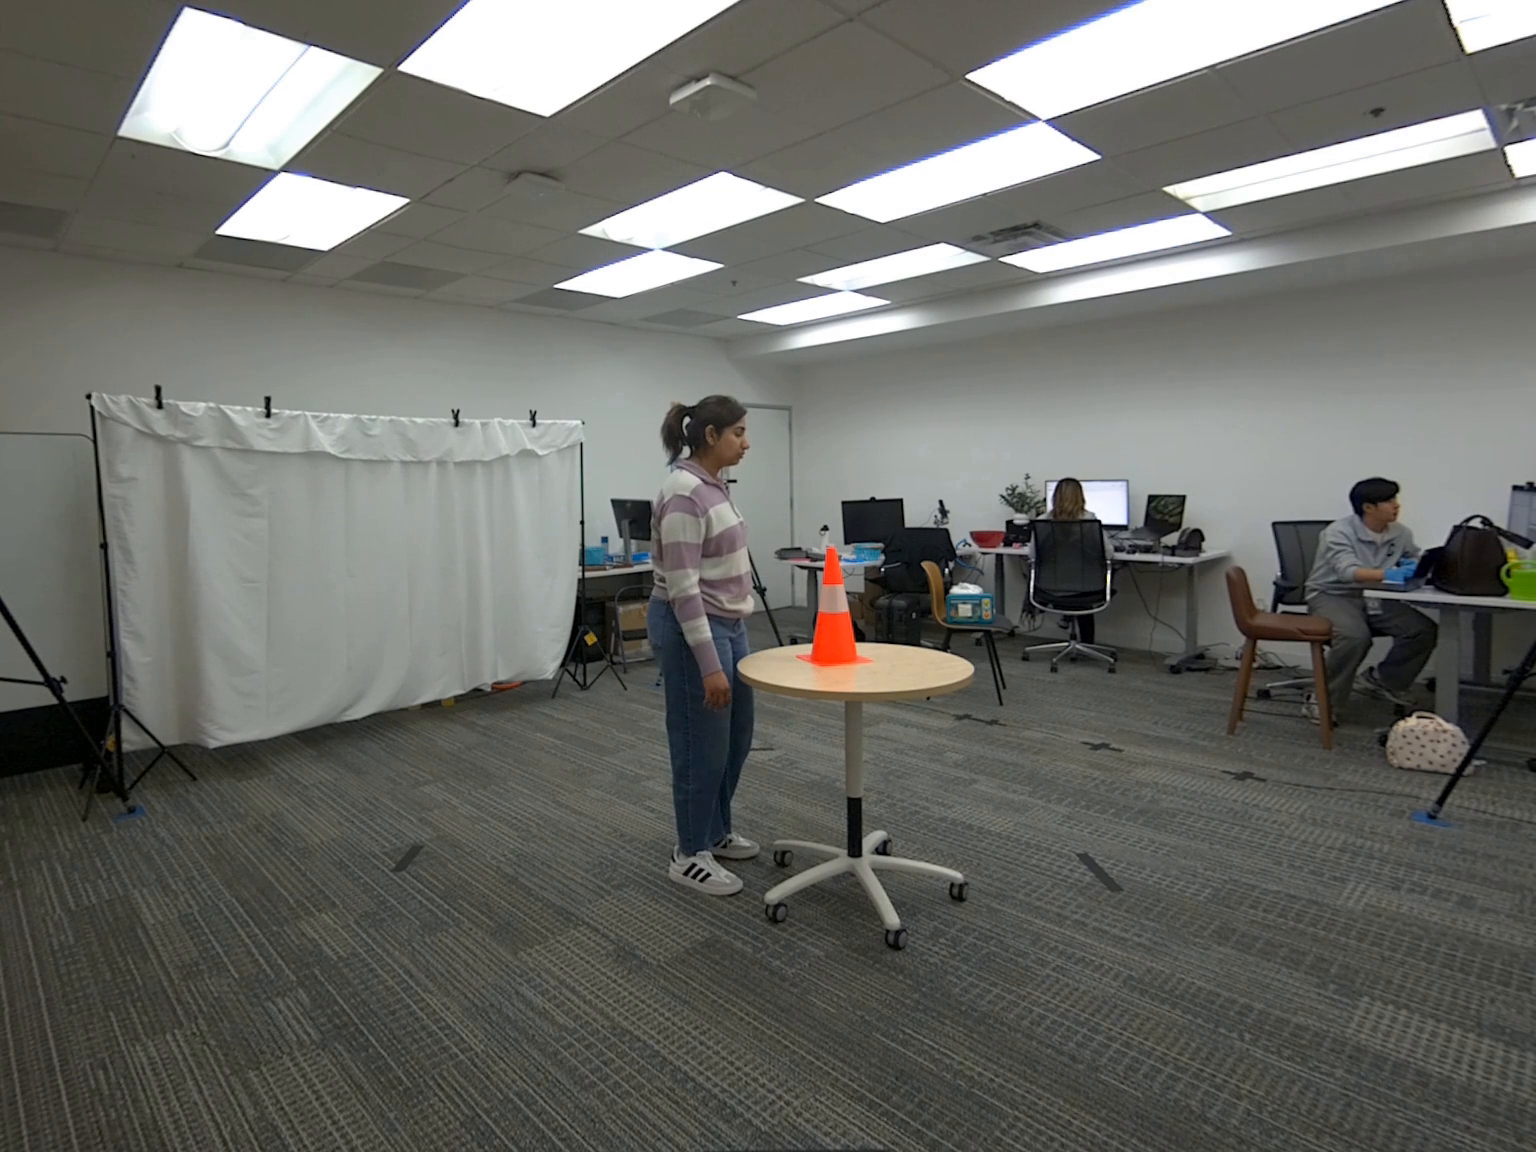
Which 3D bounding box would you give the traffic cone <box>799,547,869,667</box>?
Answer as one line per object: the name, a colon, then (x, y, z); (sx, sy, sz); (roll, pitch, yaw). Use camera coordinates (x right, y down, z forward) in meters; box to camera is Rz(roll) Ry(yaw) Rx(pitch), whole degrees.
traffic cone: (0.214, 0.095, 2.880); (0.200, 0.382, 0.209); (-5, 5, -32)
